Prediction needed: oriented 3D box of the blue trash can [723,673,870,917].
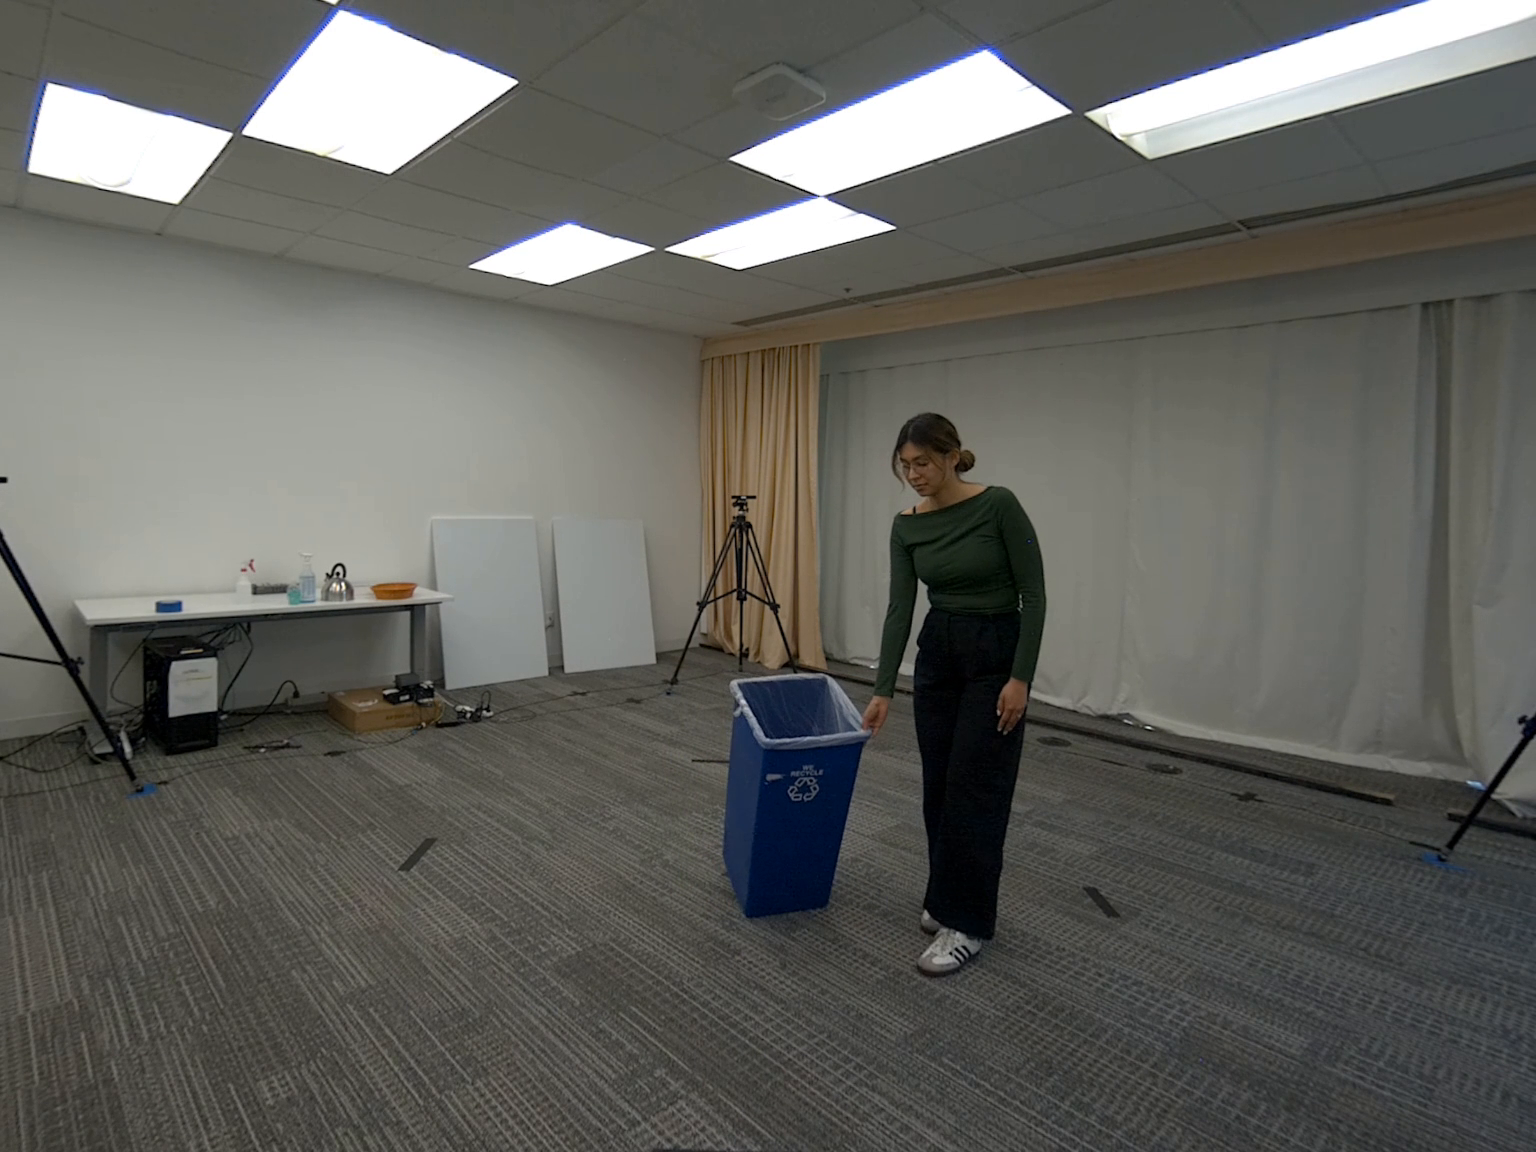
[{"bbox_3d":[0.049,0.740,2.836,0.372,0.704,0.384,-1,23,-20],"label":"blue trash can"}]
